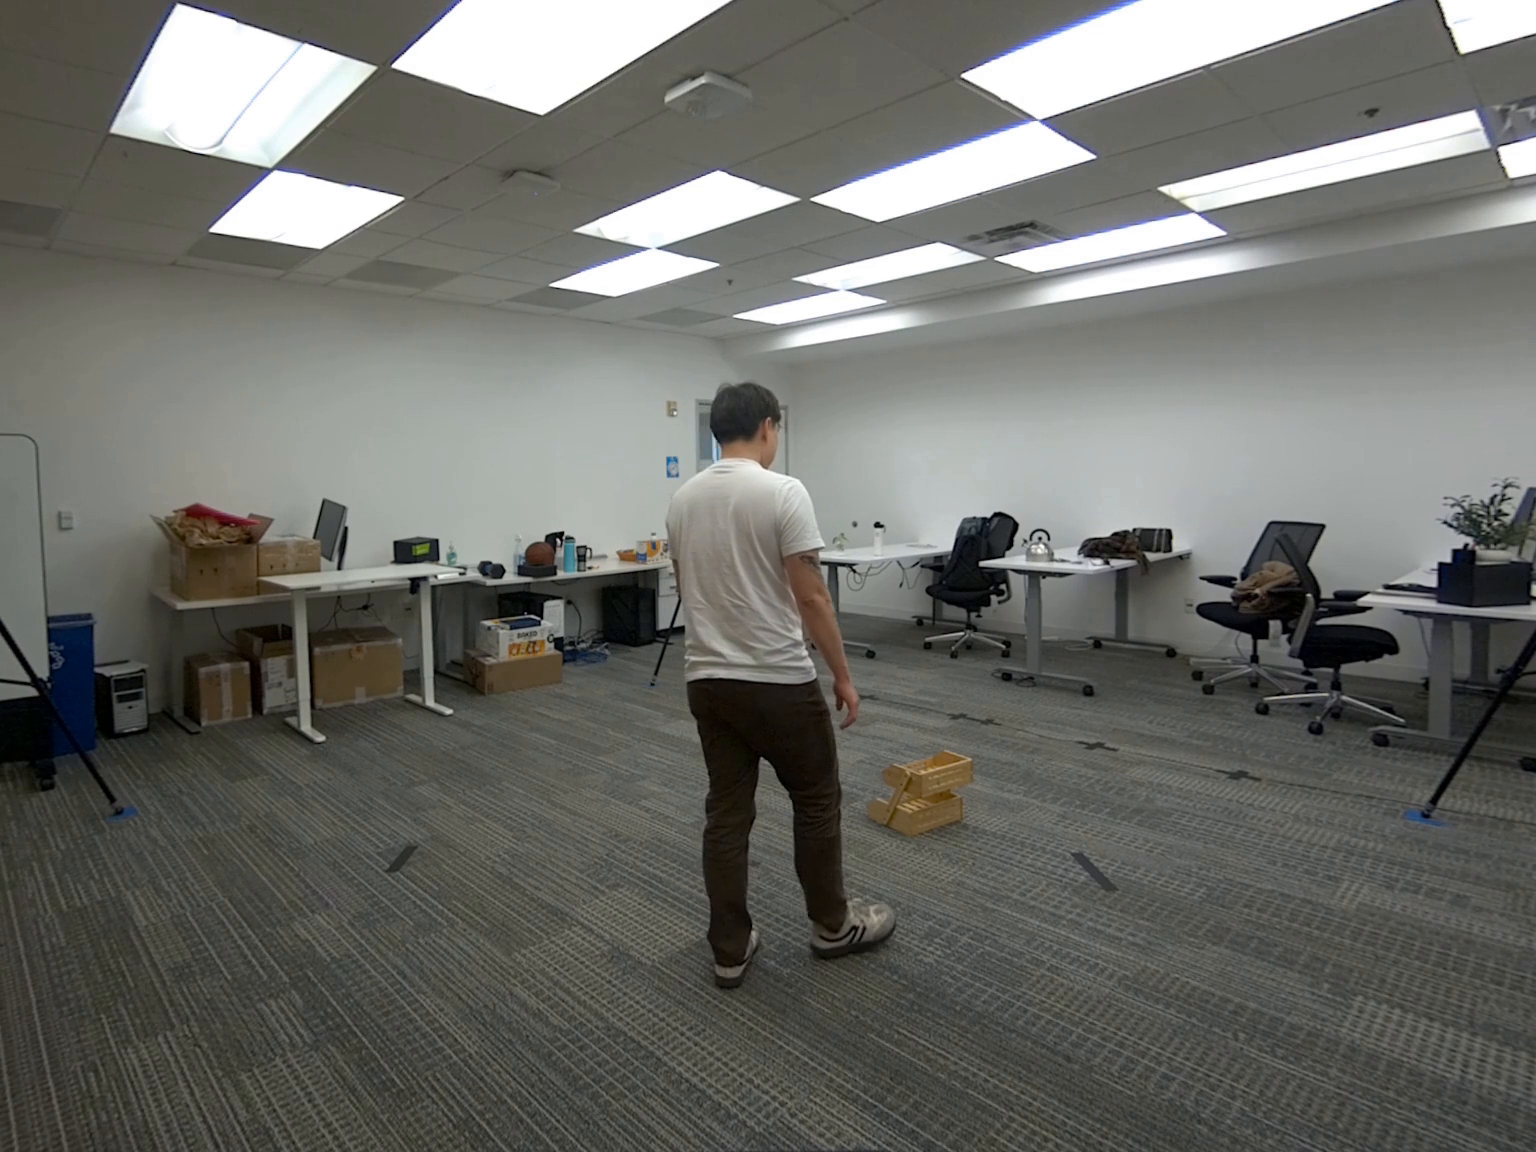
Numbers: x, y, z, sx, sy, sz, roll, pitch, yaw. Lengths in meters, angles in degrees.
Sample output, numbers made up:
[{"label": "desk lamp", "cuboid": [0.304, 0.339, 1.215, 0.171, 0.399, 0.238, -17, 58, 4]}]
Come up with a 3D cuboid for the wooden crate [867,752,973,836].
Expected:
[{"label": "wooden crate", "cuboid": [0.612, 0.858, 3.474, 0.316, 0.272, 0.311, -5, 7, -36]}]
